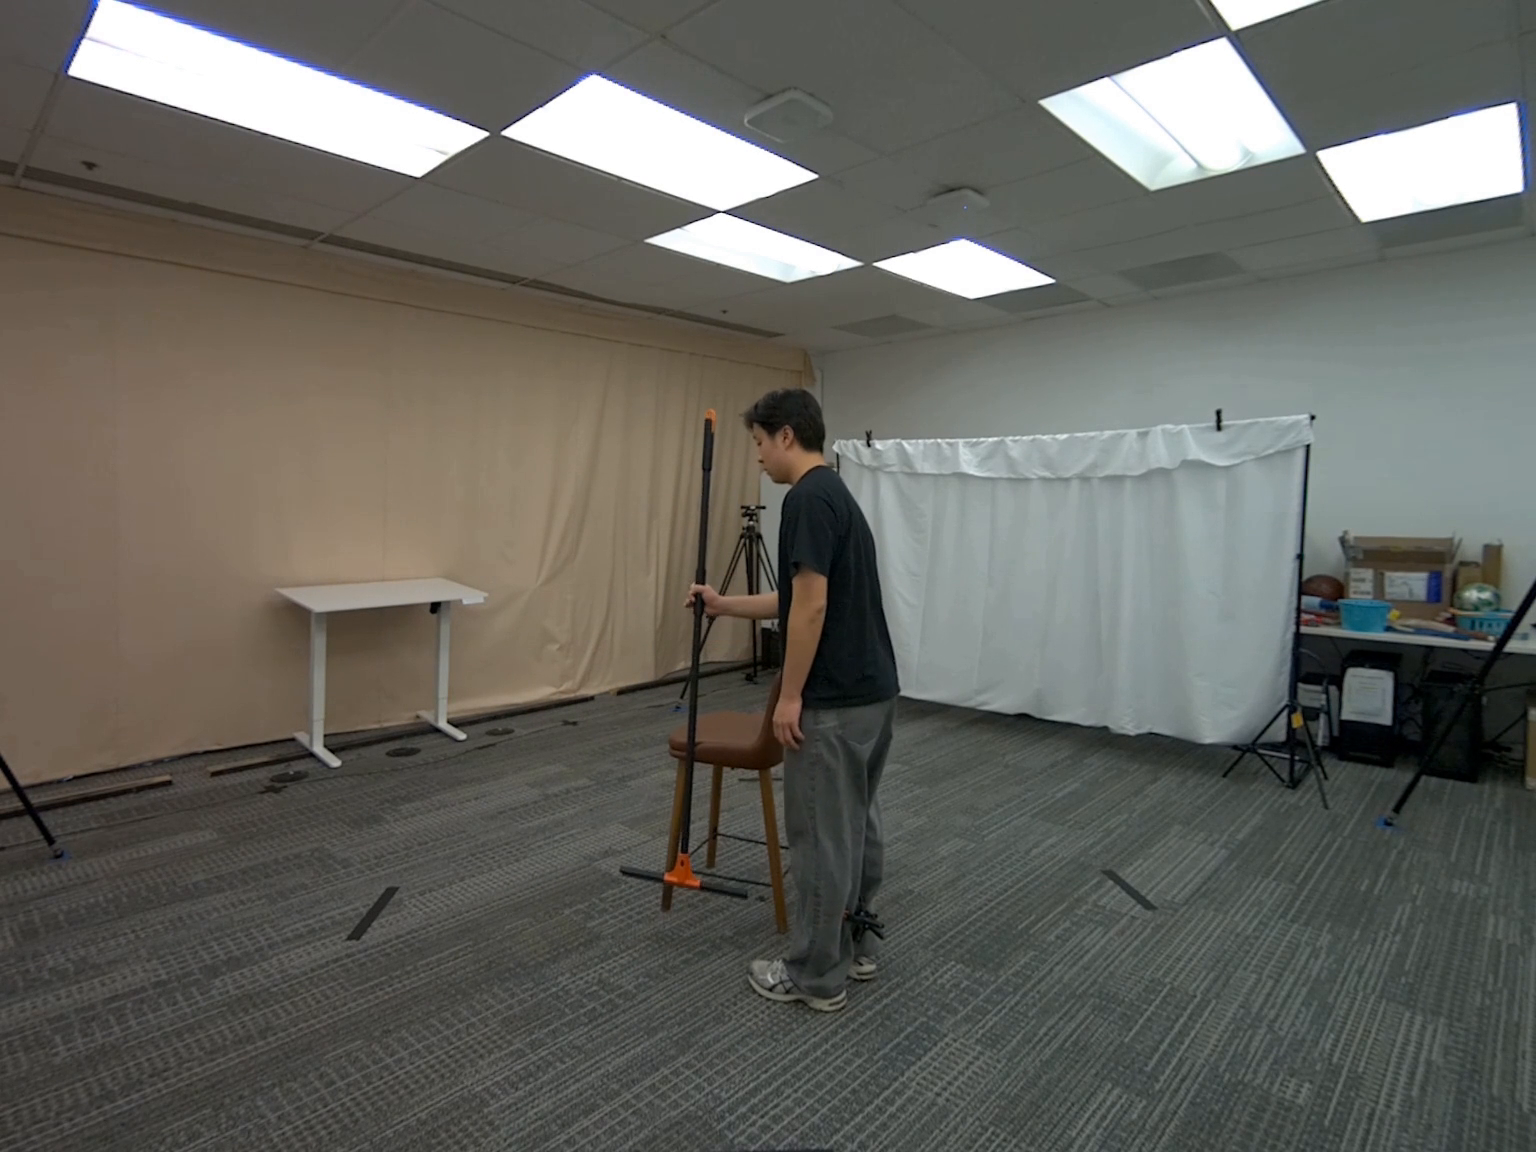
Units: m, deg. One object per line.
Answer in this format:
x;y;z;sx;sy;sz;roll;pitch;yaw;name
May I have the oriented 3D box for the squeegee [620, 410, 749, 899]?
-0.243;0.255;2.691;0.449;1.536;0.051;3;2;25;squeegee
